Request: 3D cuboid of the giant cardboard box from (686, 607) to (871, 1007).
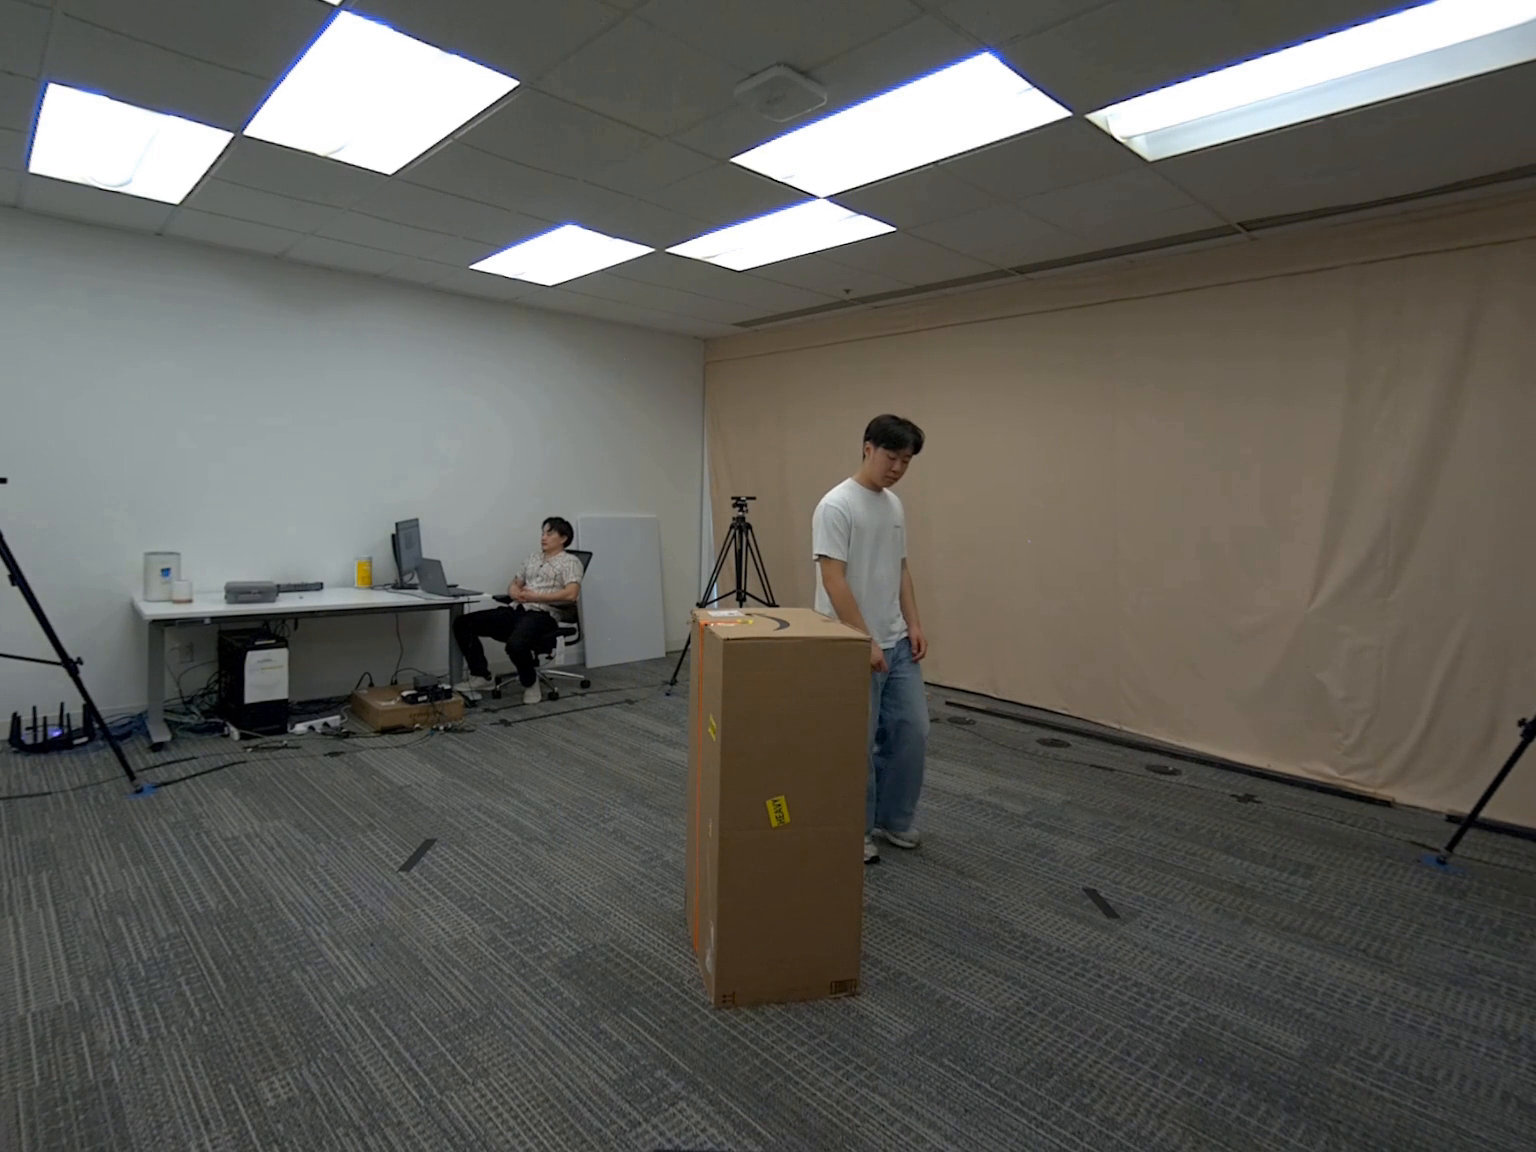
[{"bbox_3d":[-0.003,0.649,2.578,0.421,1.023,0.585,1,4,-15],"label":"giant cardboard box"}]
